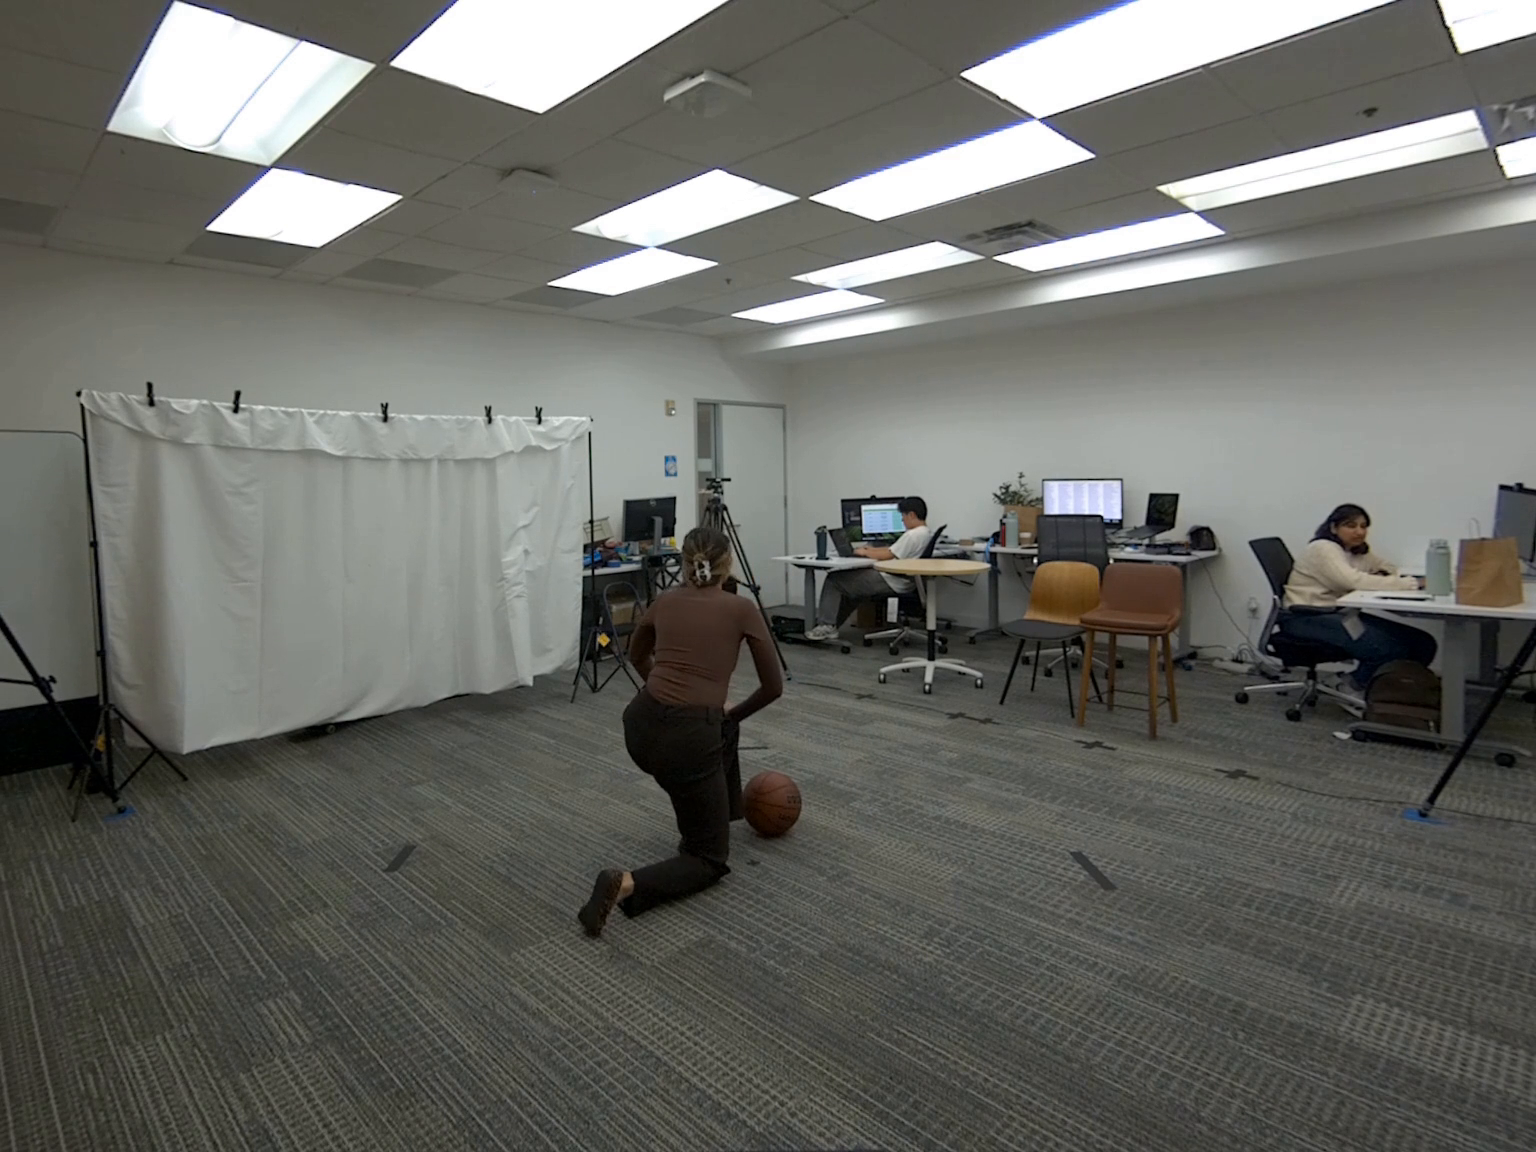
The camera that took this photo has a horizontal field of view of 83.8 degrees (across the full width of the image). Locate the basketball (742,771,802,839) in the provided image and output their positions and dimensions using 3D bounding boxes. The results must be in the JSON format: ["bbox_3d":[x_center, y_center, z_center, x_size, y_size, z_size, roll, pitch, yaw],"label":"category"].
[{"bbox_3d":[0.016,0.888,3.368,0.236,0.235,0.237,-1,5,-2],"label":"basketball"}]
